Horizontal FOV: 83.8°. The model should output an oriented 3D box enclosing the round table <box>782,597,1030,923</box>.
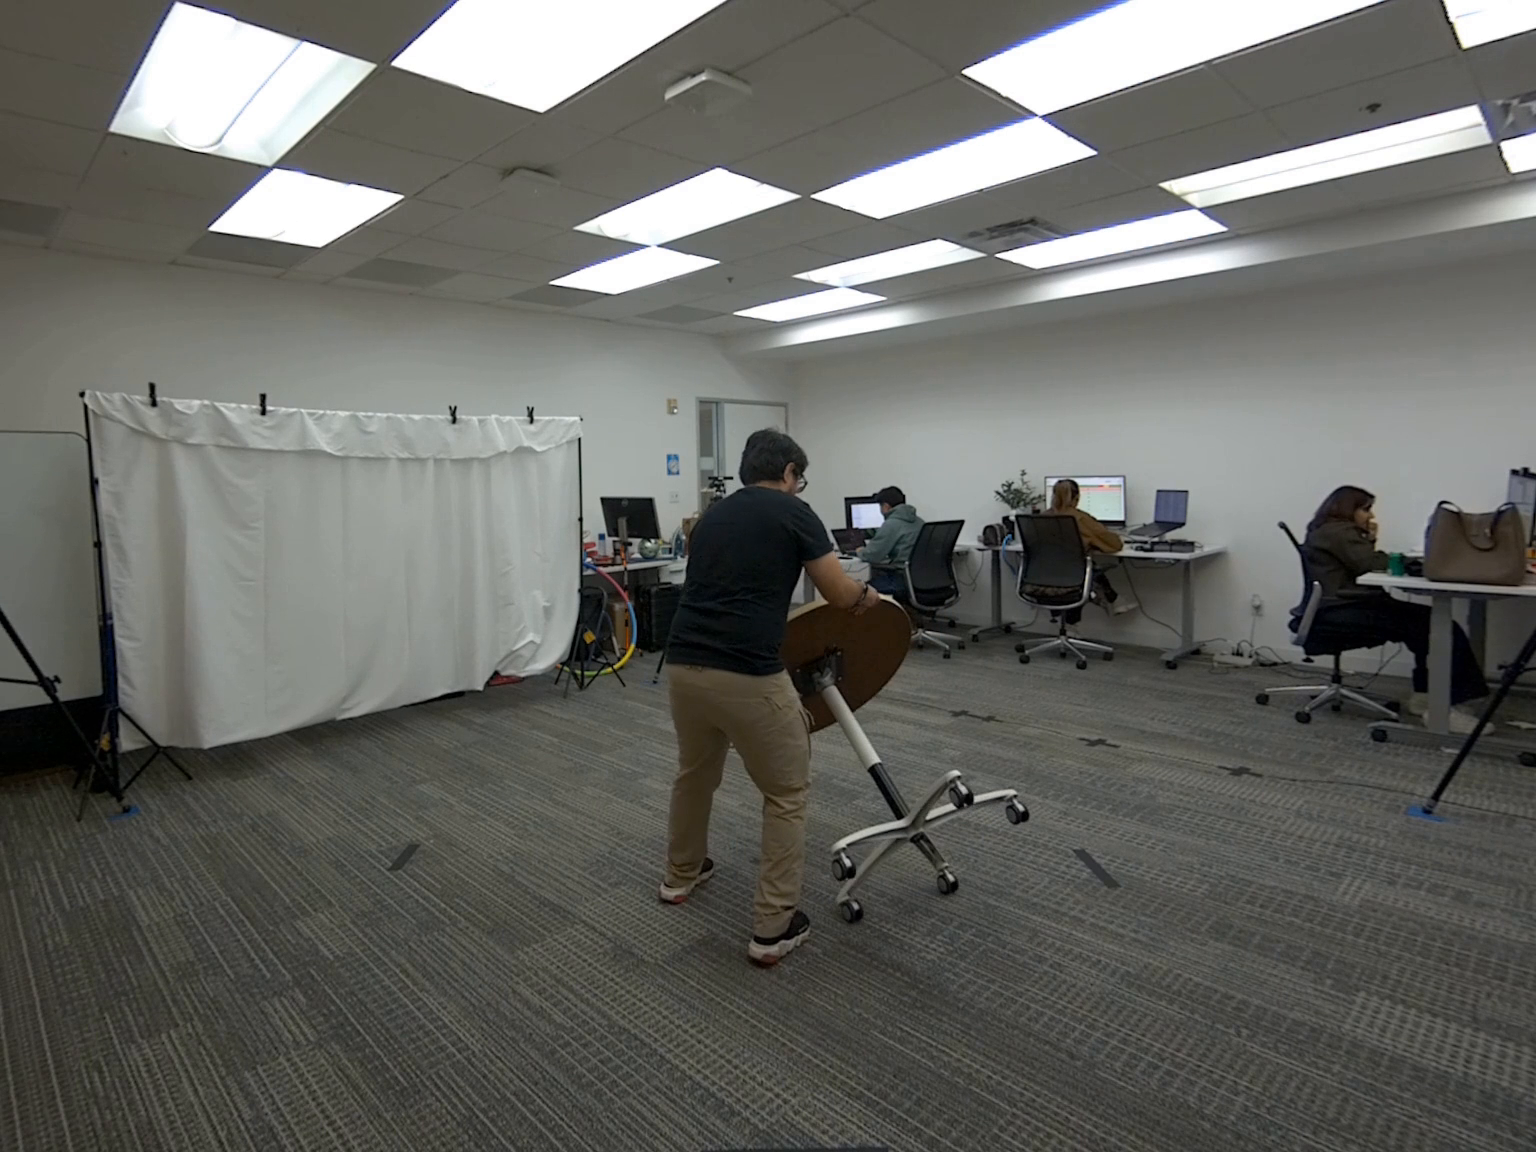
[{"bbox_3d":[0.345,0.602,2.850,0.767,0.773,0.816,-4,44,-29],"label":"round table"}]
